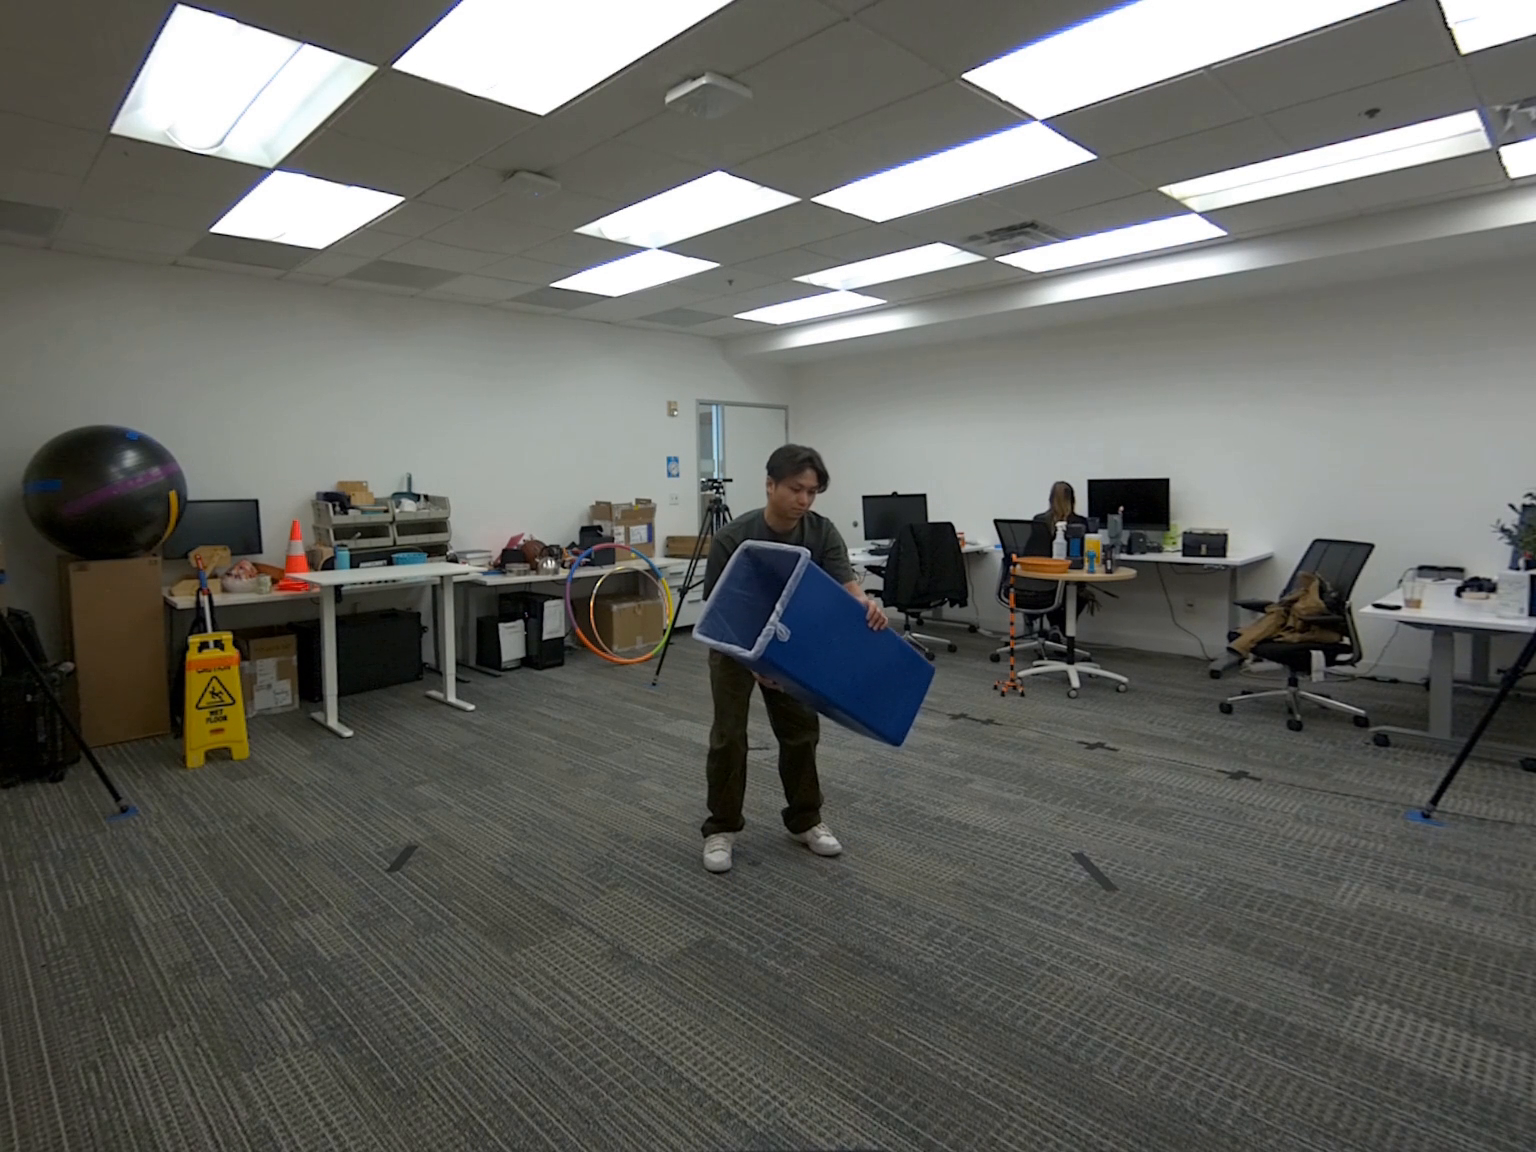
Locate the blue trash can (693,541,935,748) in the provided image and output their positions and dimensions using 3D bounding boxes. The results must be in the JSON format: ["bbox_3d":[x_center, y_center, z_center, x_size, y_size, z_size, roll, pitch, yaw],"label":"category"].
[{"bbox_3d":[0.175,0.251,2.776,0.690,0.375,0.389,39,-16,-29],"label":"blue trash can"}]
